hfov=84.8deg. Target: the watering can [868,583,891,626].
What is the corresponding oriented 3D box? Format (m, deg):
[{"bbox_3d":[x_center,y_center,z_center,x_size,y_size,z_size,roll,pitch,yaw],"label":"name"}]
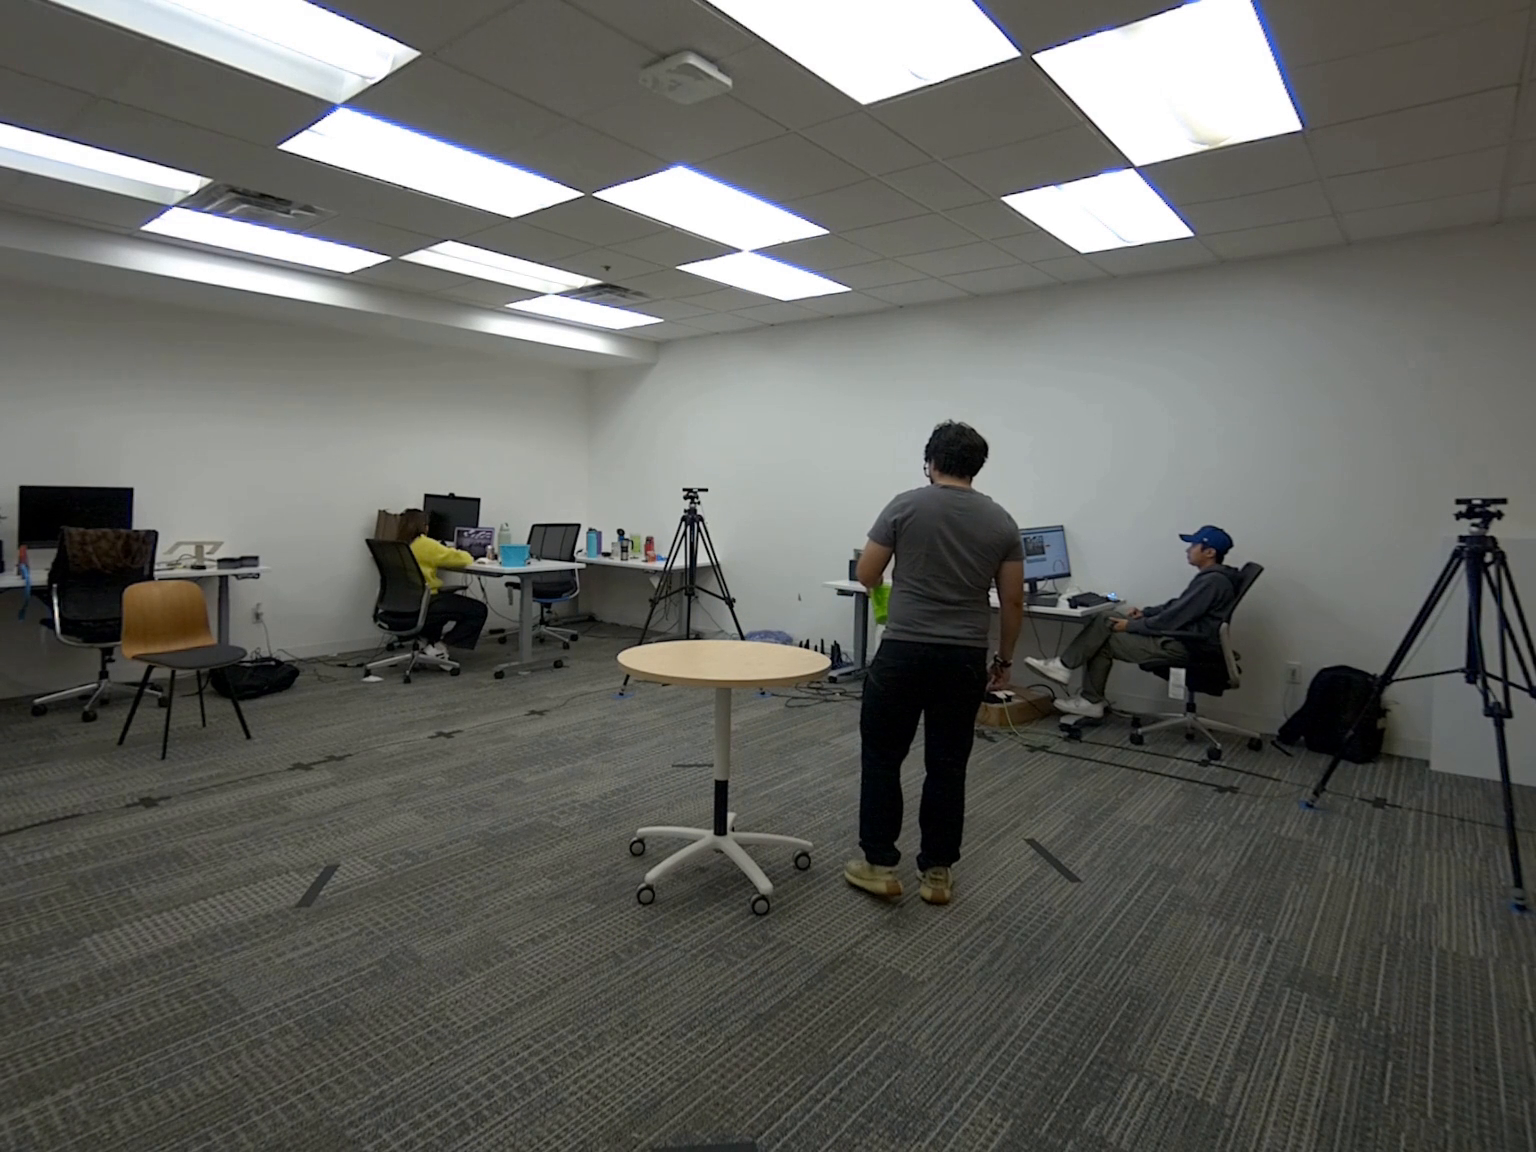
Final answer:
[{"bbox_3d":[0.474,0.099,3.373,0.099,0.181,0.268,-26,-27,36],"label":"watering can"}]
